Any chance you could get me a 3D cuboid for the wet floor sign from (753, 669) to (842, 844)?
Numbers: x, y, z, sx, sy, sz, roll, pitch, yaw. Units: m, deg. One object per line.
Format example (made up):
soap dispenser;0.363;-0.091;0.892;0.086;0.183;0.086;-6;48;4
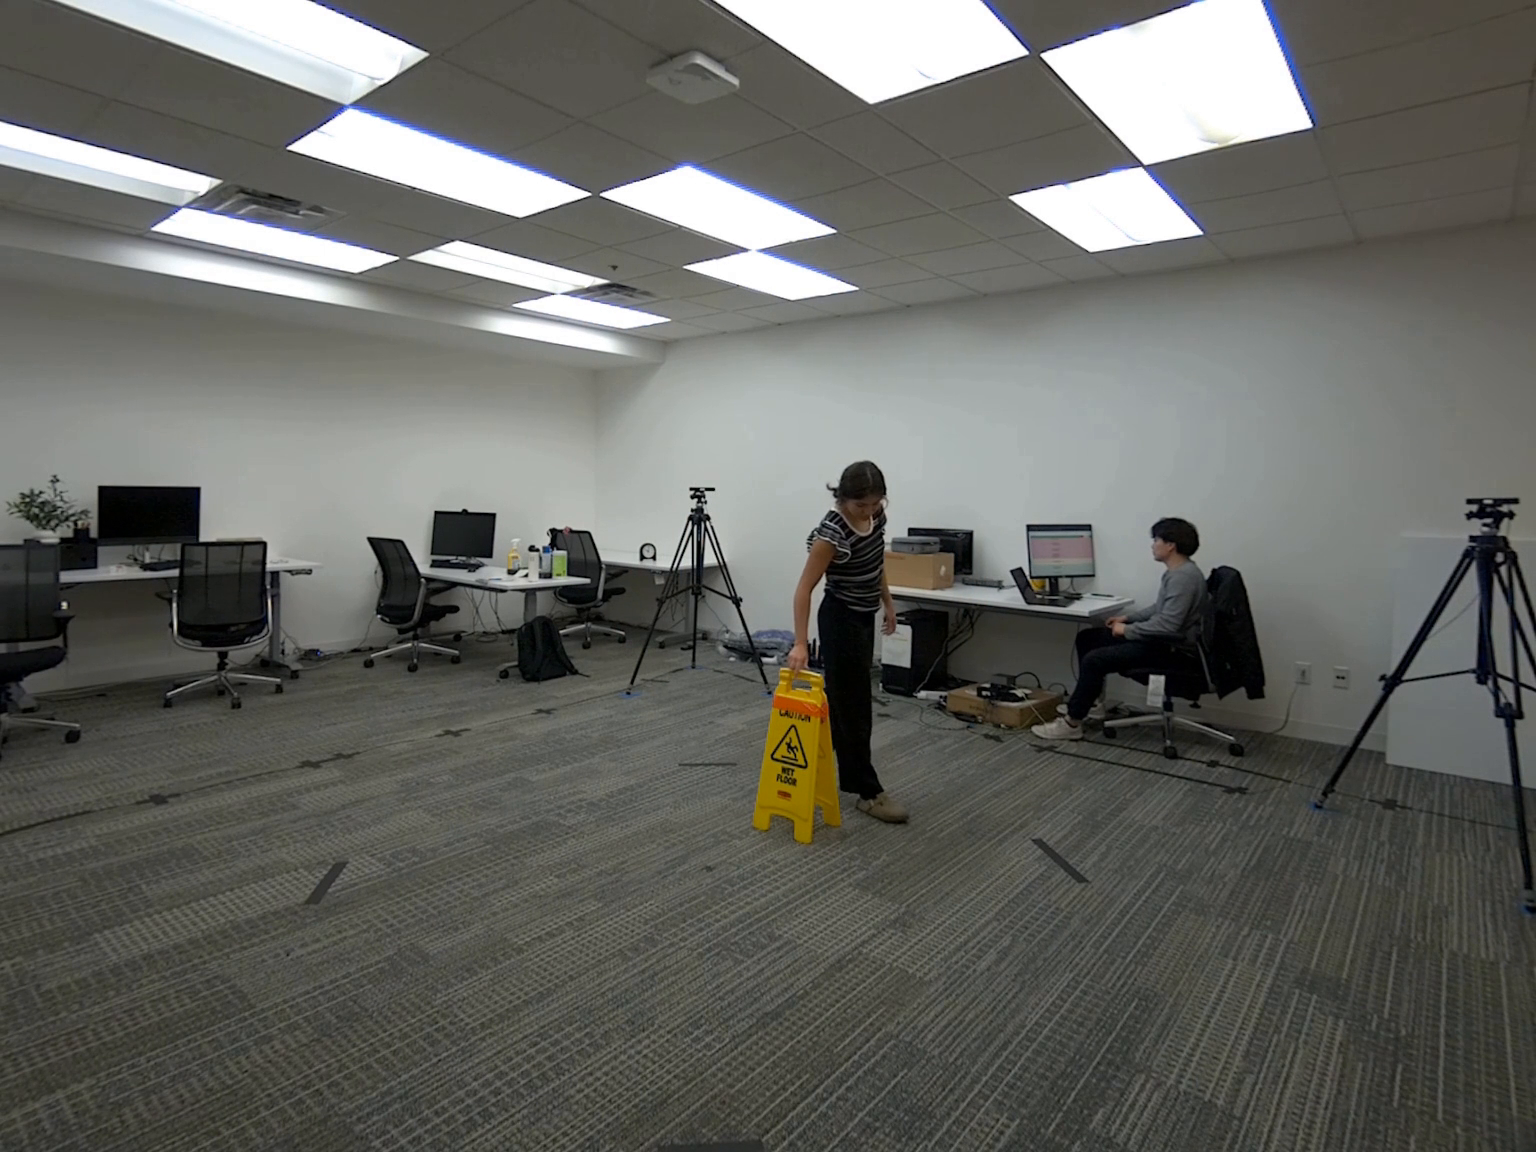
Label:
wet floor sign;0.121;0.709;3.511;0.291;0.644;0.281;4;4;36
